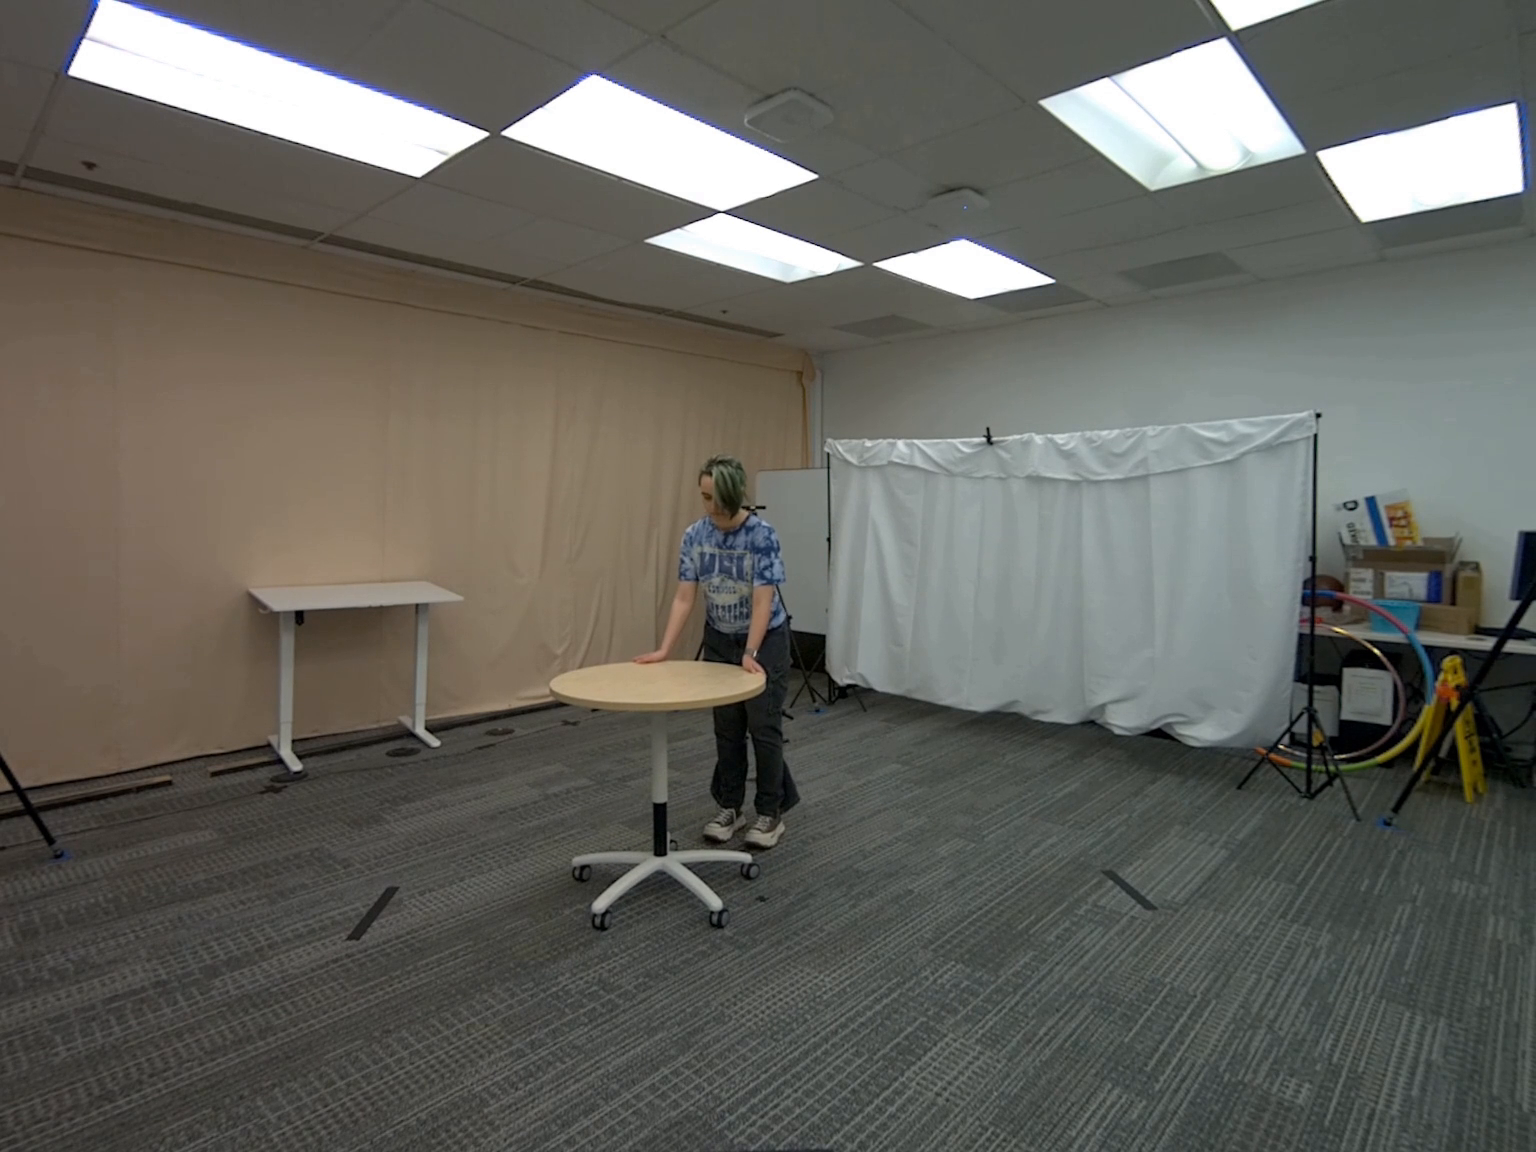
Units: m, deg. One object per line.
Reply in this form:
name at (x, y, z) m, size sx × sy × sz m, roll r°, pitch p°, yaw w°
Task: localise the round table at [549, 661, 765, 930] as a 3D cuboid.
round table at (-0.392, 0.760, 3.023) m, size 0.763 × 0.792 × 0.766 m, roll -1°, pitch 3°, yaw -2°
